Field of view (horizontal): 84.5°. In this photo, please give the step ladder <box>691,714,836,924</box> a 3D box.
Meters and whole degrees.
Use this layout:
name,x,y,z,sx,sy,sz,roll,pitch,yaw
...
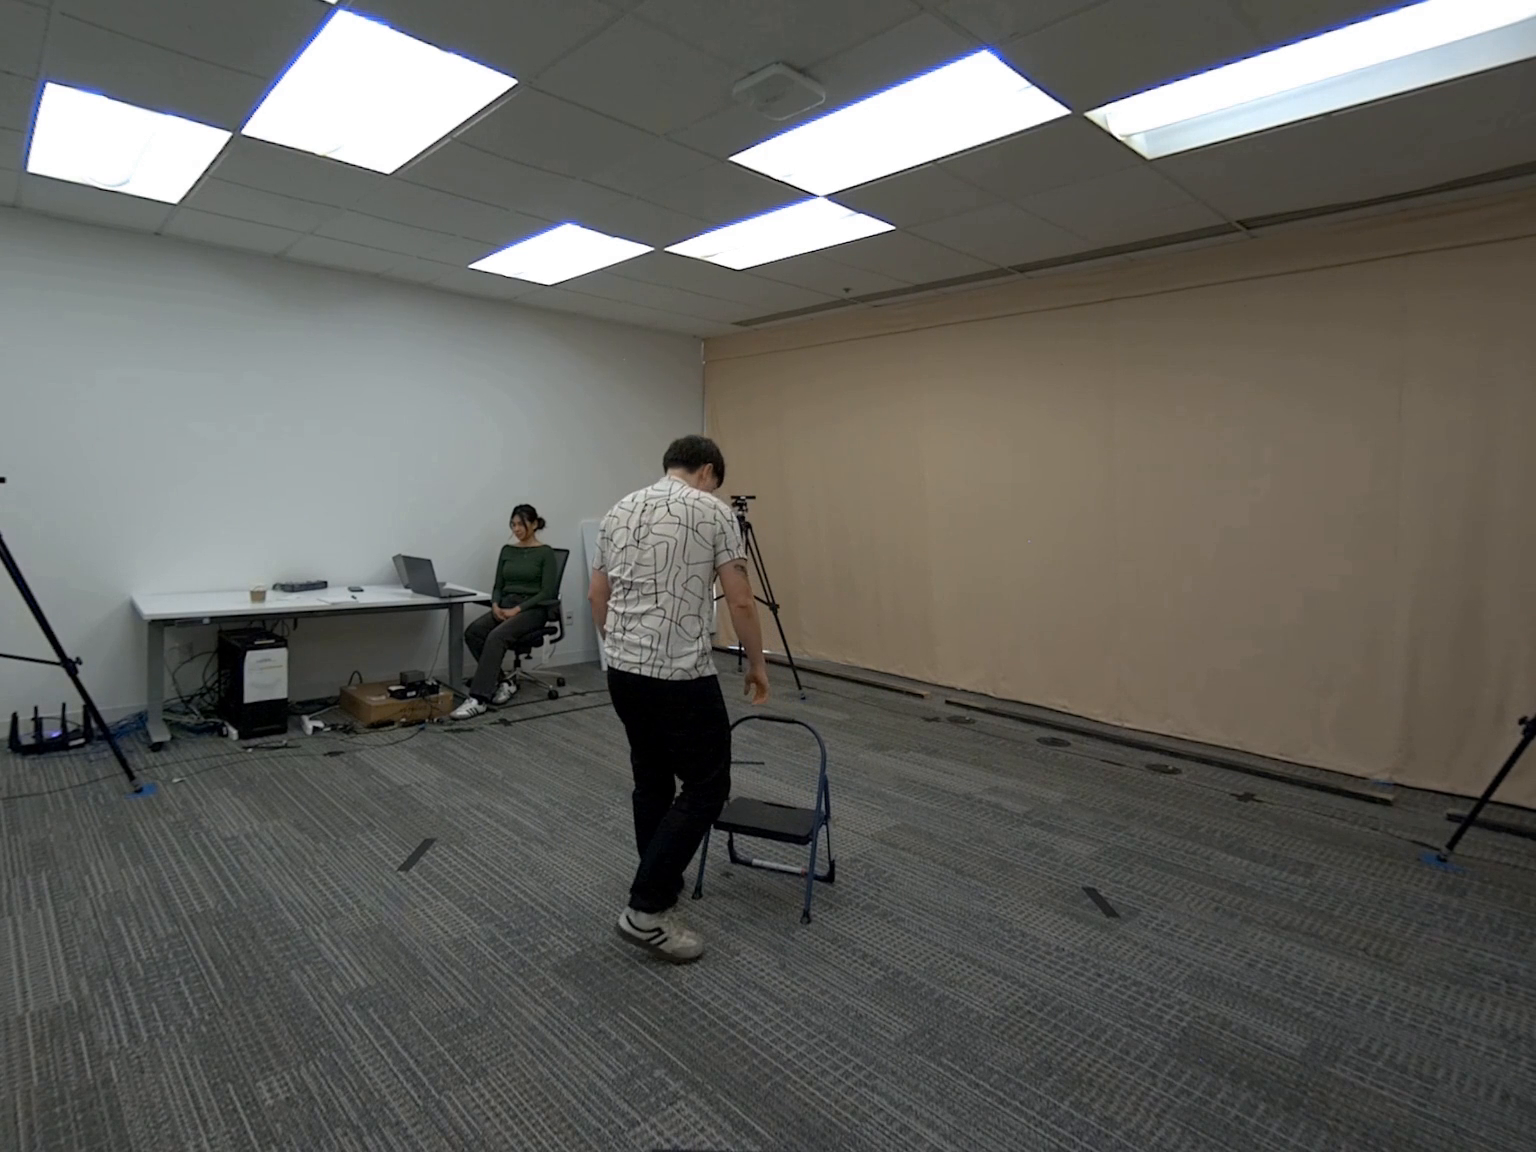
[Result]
name,x,y,z,sx,sy,sz,roll,pitch,yaw
step ladder,-0.001,0.815,2.975,0.438,0.604,0.344,3,5,22
